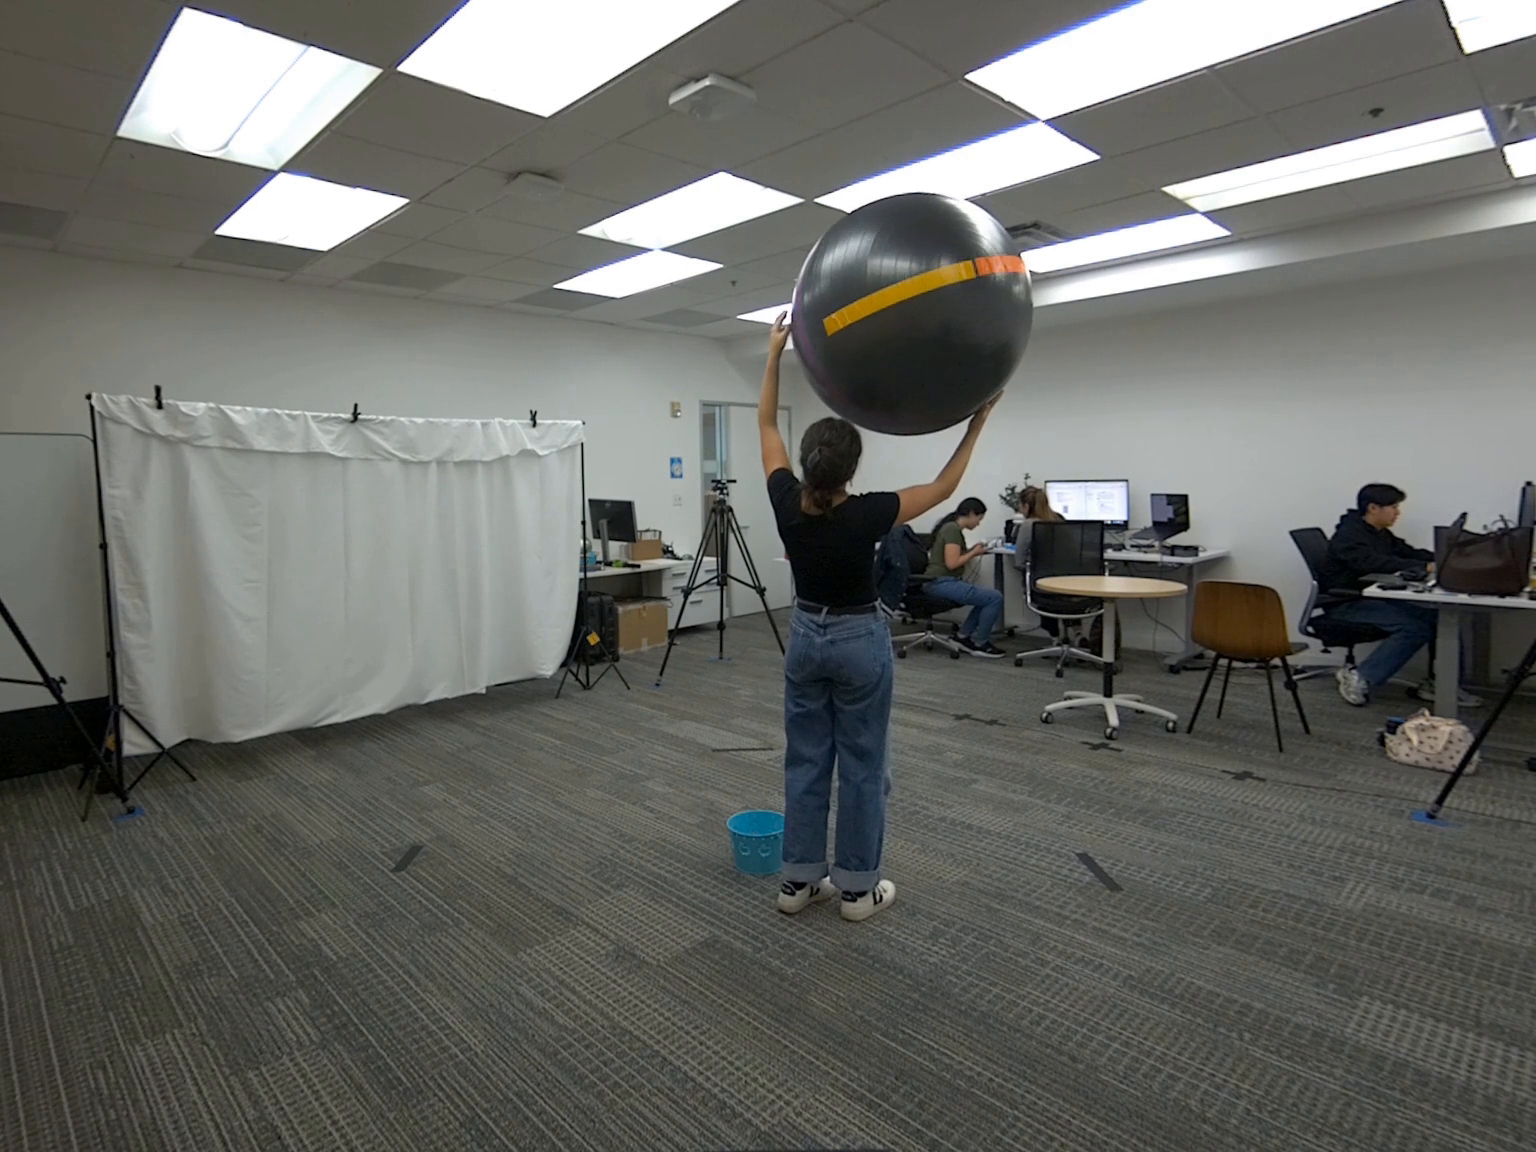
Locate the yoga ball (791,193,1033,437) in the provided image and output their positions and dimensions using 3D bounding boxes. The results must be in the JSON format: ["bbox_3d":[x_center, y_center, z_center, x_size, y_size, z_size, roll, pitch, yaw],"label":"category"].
[{"bbox_3d":[0.447,-0.828,2.747,0.757,0.755,0.762,-1,5,-2],"label":"yoga ball"}]
